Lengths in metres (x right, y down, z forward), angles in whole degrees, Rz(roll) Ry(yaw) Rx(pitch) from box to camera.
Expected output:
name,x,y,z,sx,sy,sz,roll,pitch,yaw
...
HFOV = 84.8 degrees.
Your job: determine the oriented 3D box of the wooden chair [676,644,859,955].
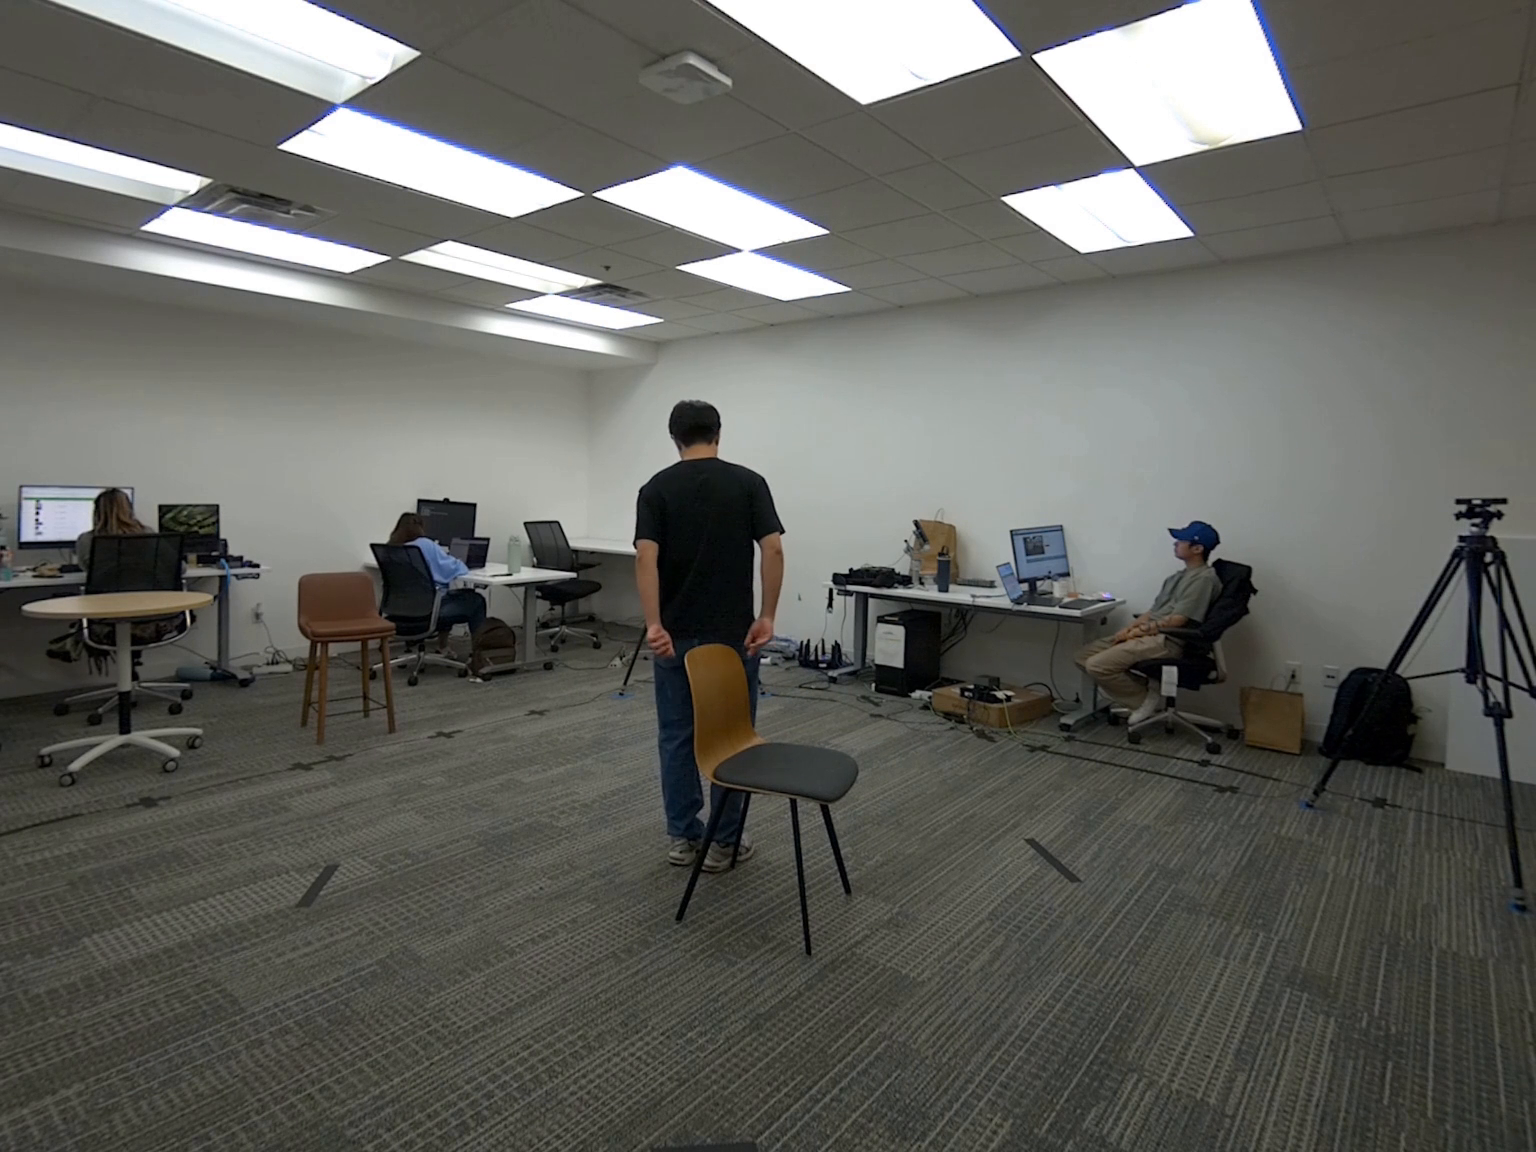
name,x,y,z,sx,sy,sz,roll,pitch,yaw
wooden chair,0.013,0.674,2.807,0.535,0.876,0.468,-2,2,23
